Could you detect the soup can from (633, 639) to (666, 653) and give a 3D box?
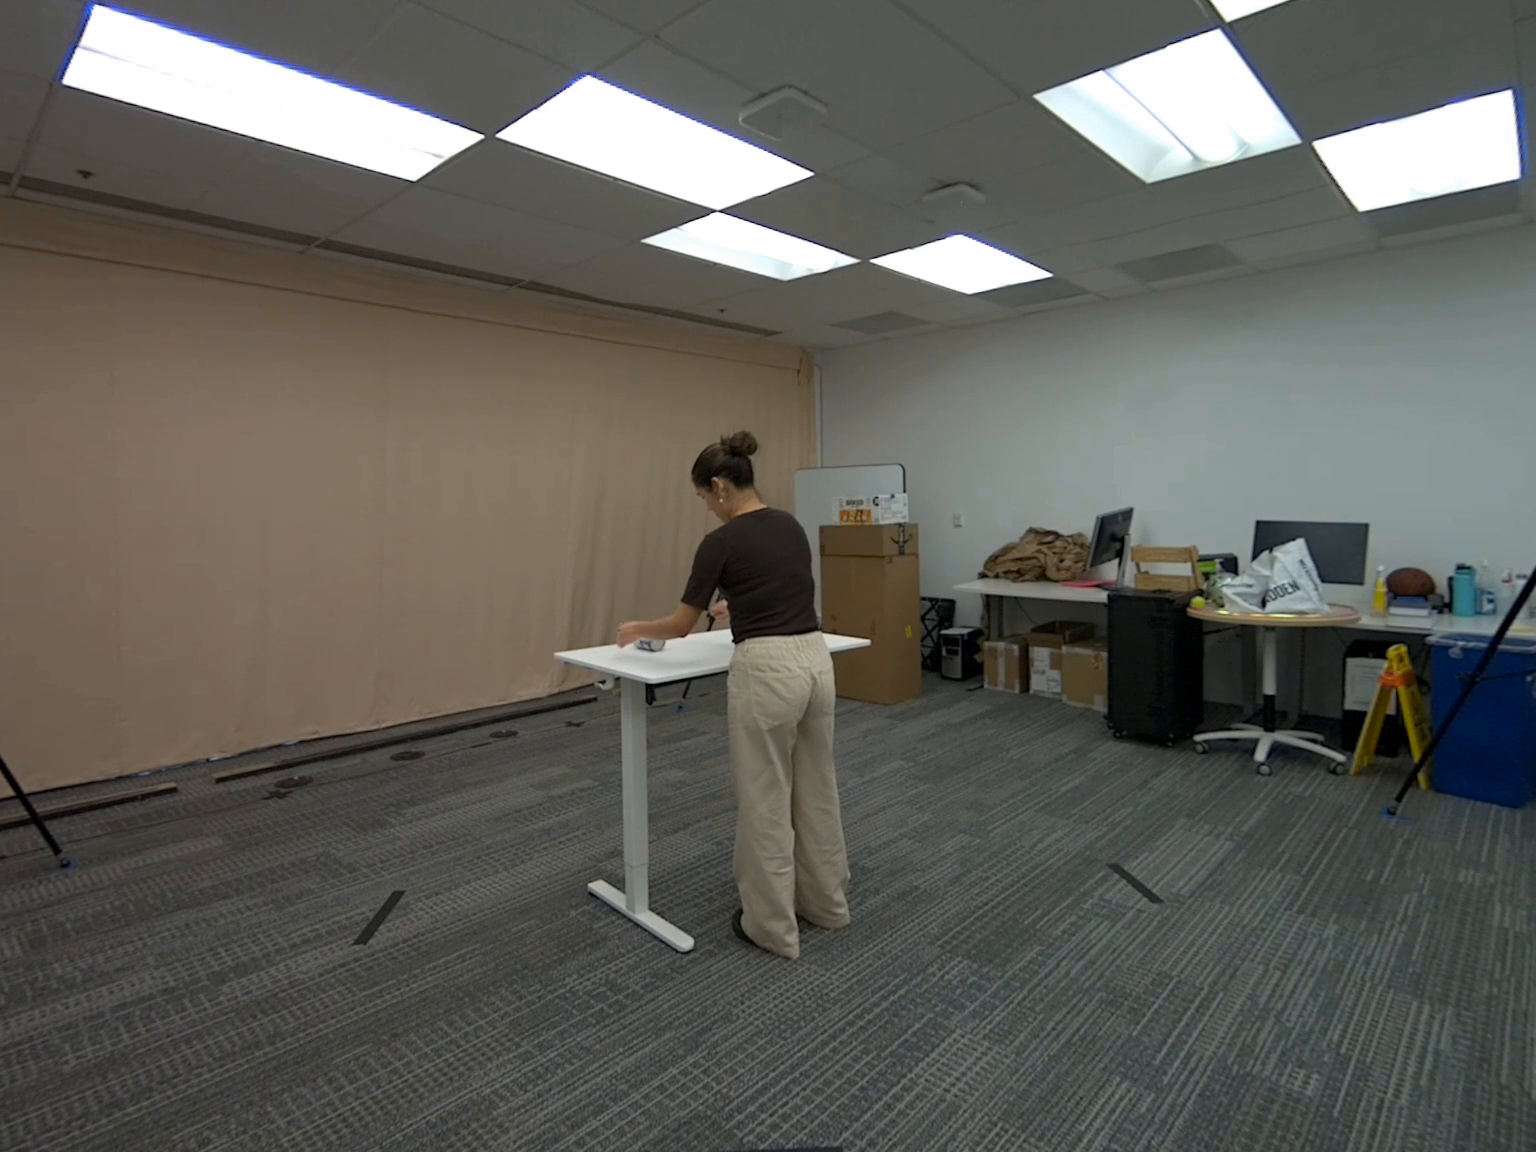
[{"bbox_3d":[-0.426,0.231,2.997,0.065,0.067,0.125,-4,4,-41],"label":"soup can"}]
